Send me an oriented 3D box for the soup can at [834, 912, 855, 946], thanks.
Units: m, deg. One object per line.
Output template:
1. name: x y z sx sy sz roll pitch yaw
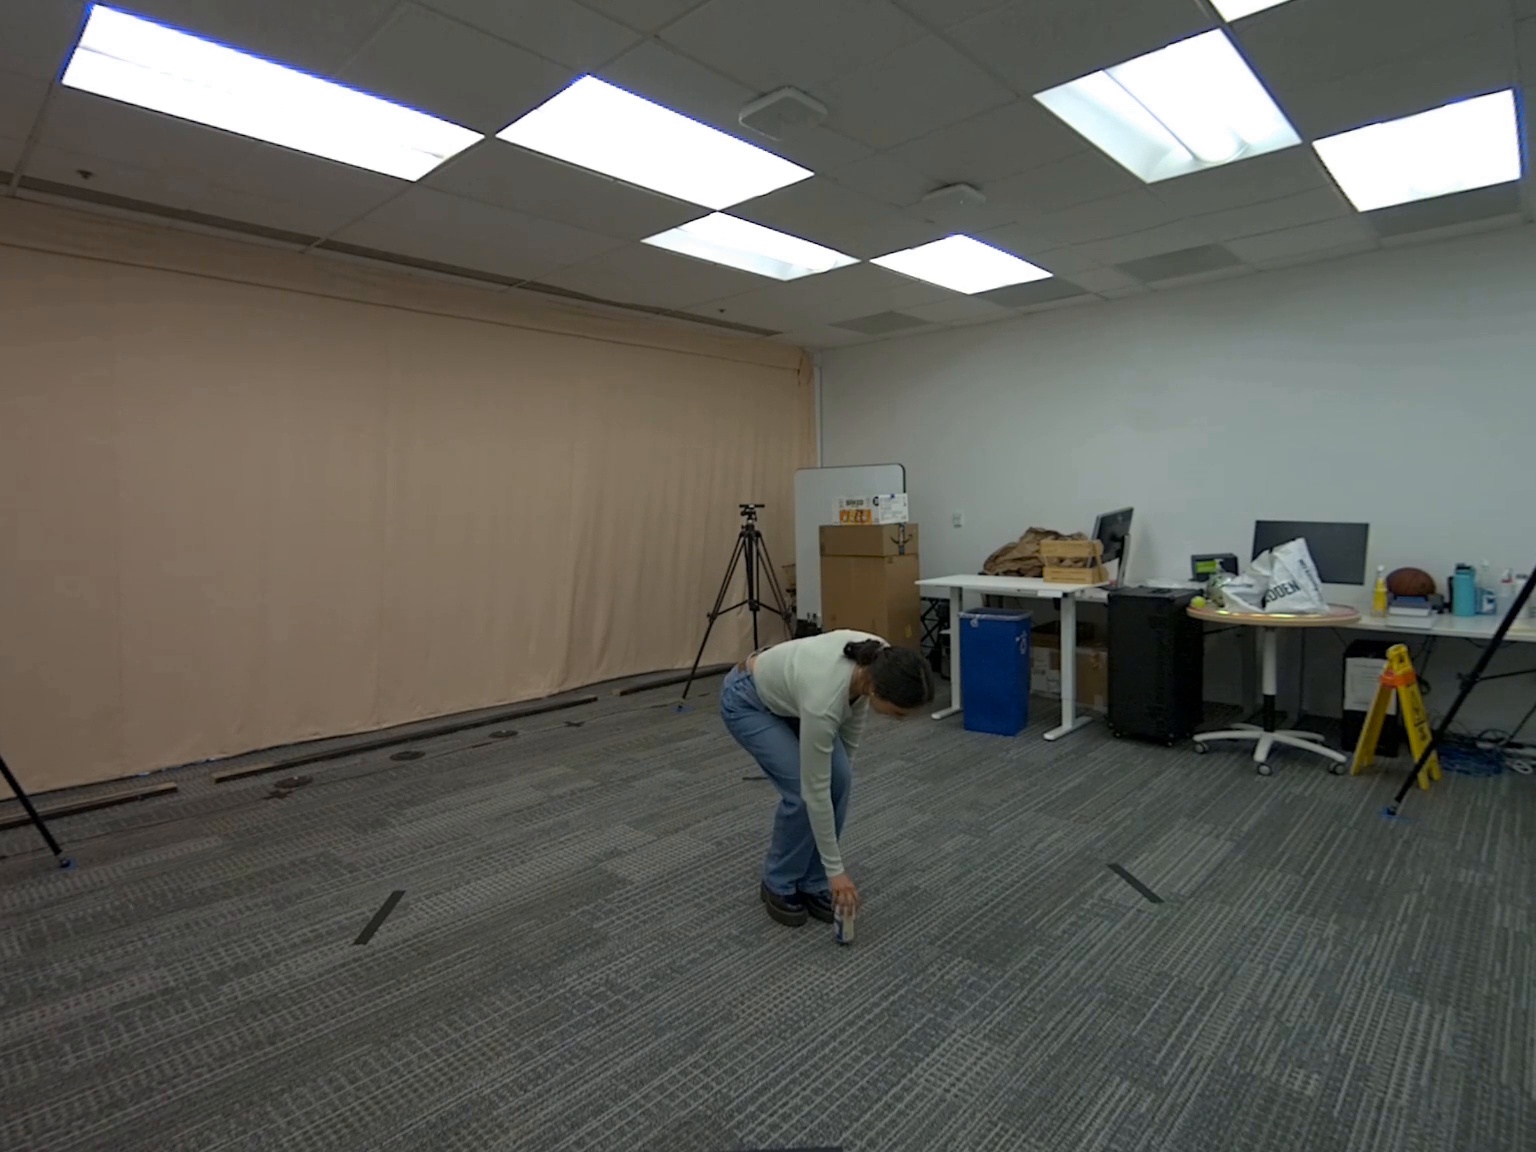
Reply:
1. soup can: 0.243 1.081 2.665 0.067 0.121 0.067 -1 1 -2
